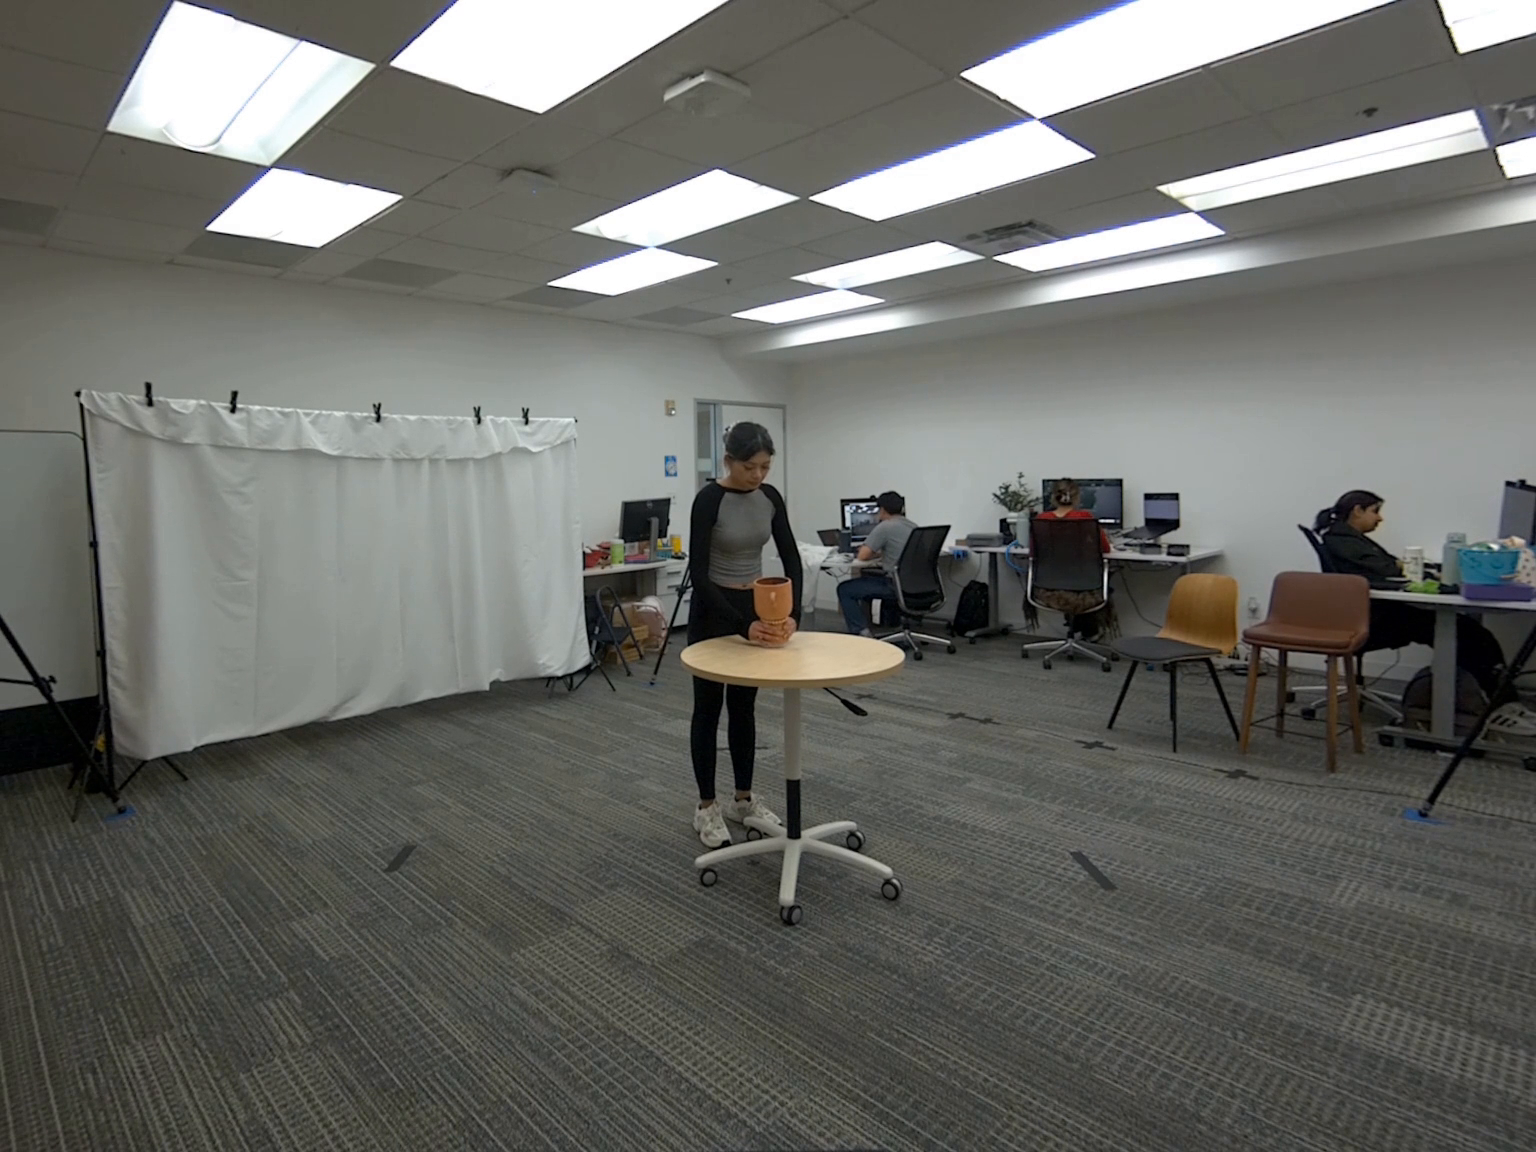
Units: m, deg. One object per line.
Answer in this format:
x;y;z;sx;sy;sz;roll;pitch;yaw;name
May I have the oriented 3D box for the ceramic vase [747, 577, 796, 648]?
0.029;0.124;3.037;0.139;0.218;0.155;6;11;37;ceramic vase
